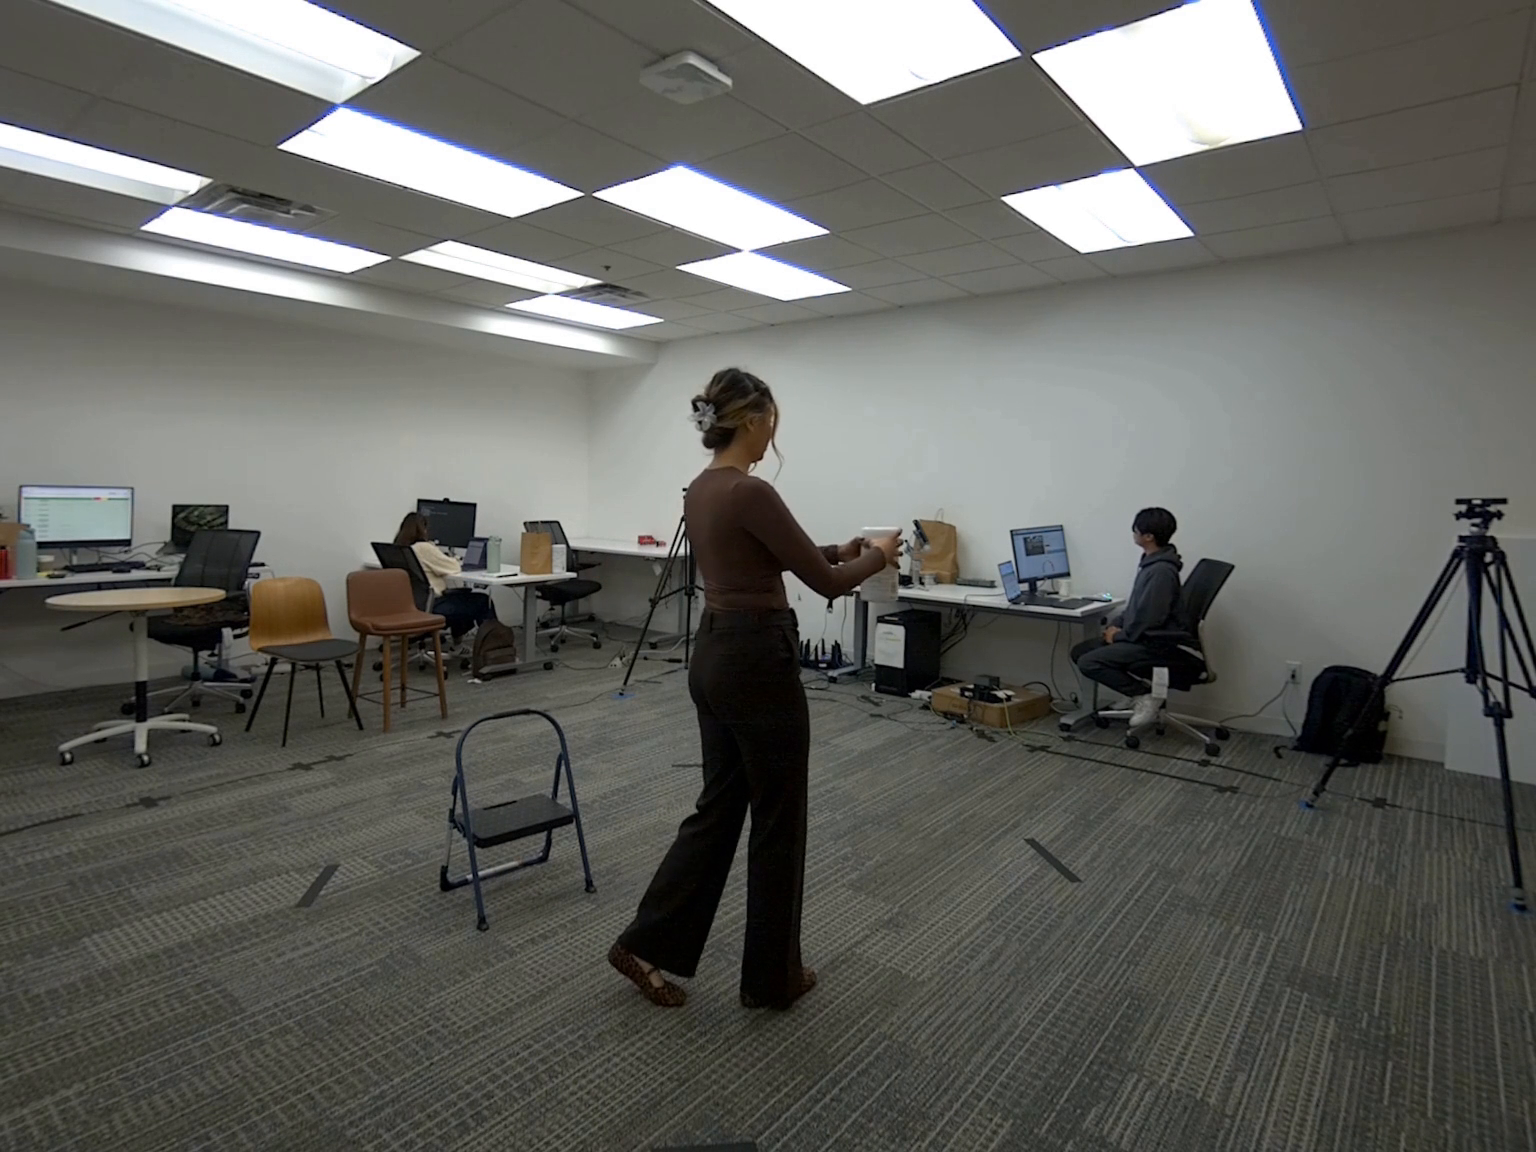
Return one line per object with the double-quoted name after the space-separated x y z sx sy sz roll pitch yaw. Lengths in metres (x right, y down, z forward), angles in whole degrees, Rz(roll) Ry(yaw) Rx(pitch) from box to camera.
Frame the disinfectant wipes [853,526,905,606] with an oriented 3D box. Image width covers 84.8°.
0.324 -0.034 2.477 0.118 0.217 0.118 -3 2 -2 "disinfectant wipes"
